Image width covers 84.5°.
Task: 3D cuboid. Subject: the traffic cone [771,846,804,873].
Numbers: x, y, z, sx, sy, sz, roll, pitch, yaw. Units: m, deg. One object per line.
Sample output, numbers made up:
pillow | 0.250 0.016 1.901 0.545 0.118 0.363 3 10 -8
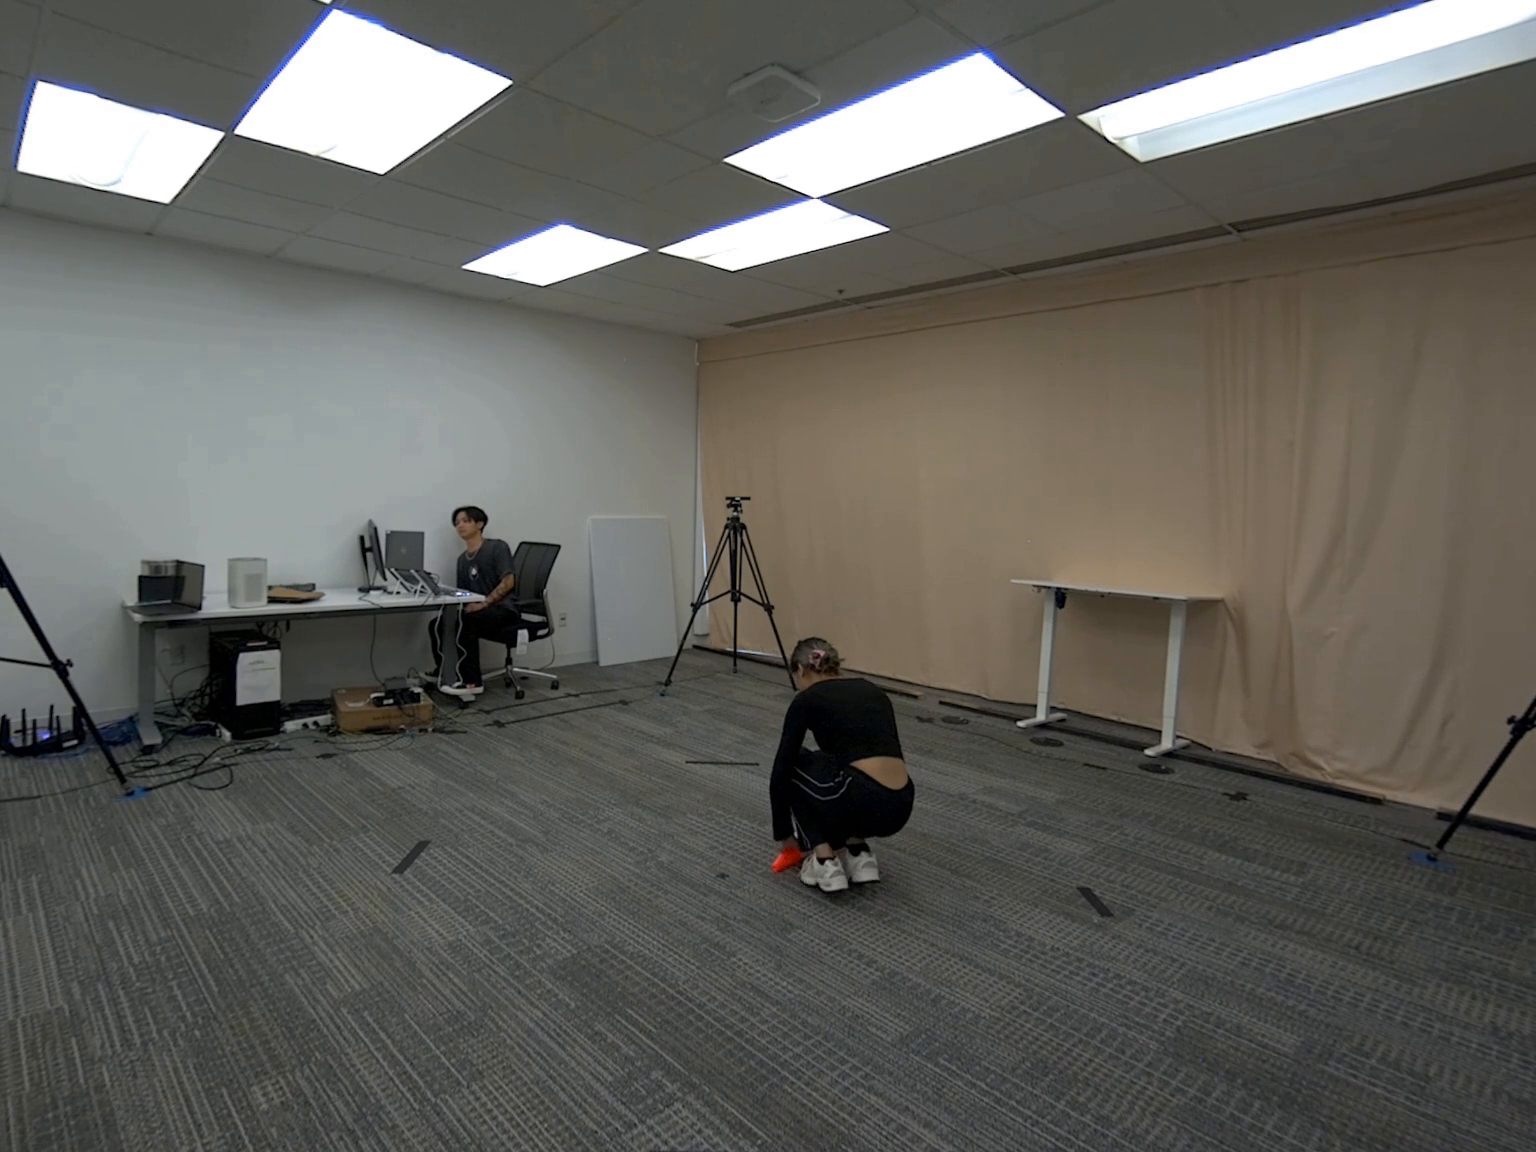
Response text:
traffic cone | 0.141 1.053 3.277 0.210 0.201 0.378 1 17 42
